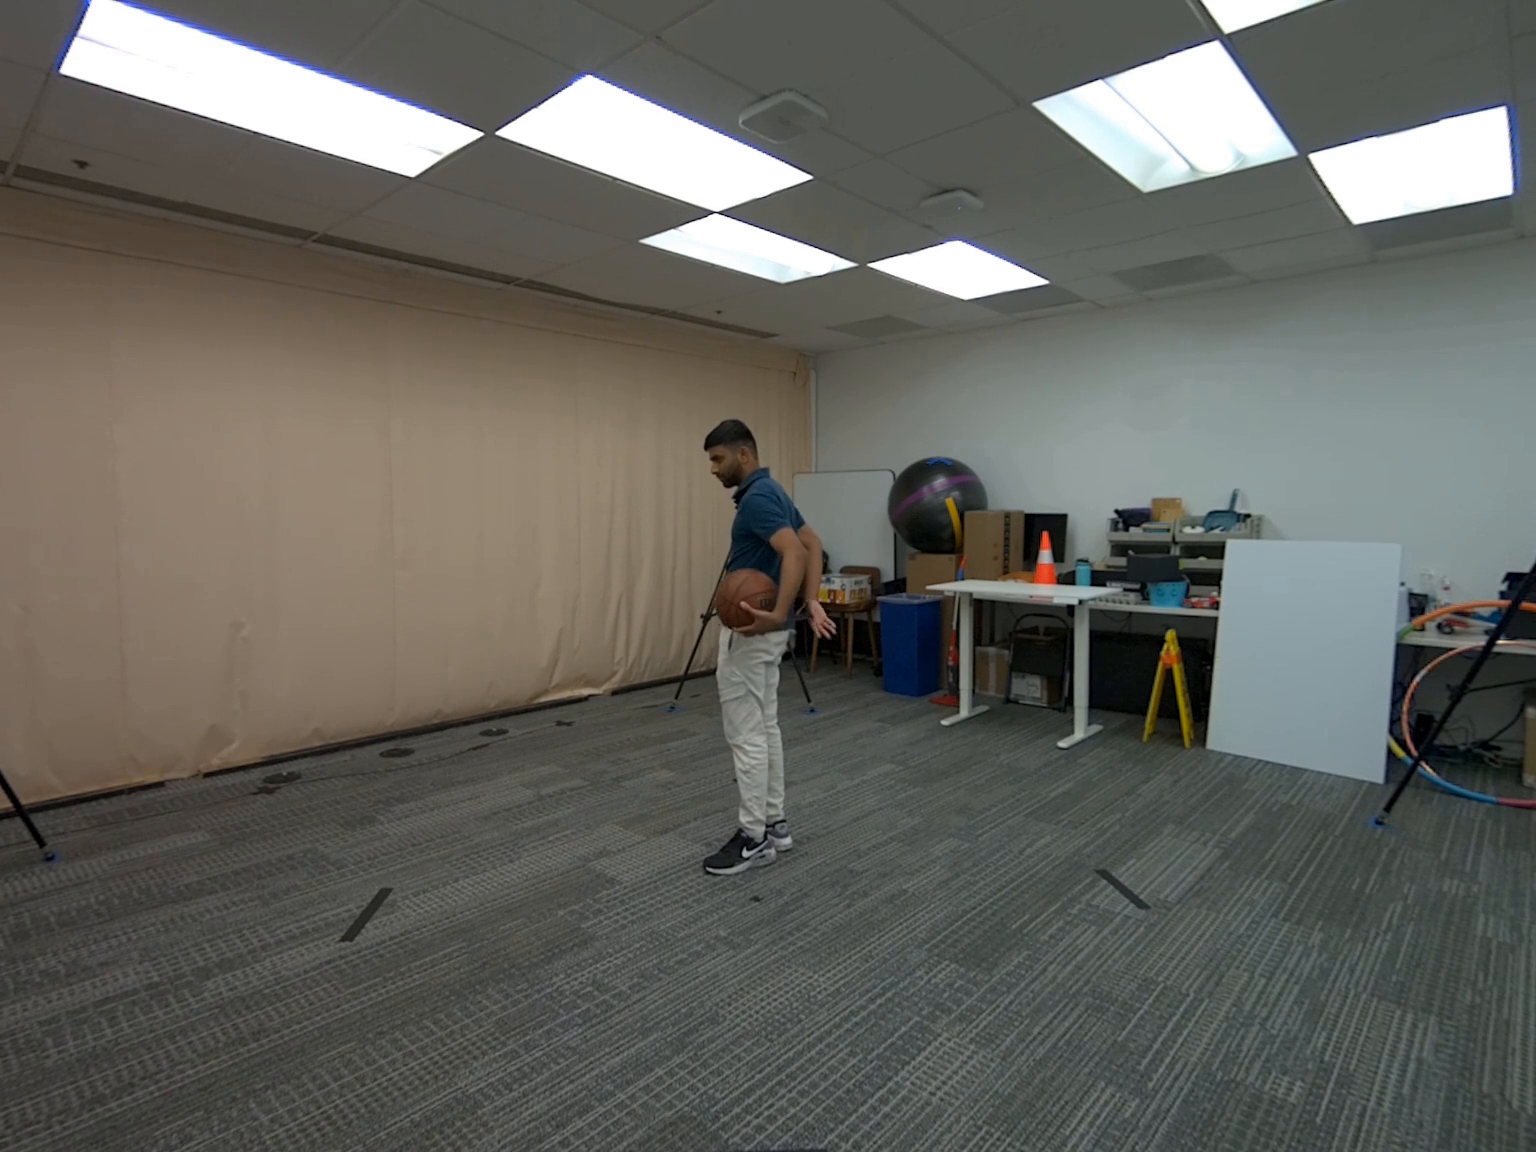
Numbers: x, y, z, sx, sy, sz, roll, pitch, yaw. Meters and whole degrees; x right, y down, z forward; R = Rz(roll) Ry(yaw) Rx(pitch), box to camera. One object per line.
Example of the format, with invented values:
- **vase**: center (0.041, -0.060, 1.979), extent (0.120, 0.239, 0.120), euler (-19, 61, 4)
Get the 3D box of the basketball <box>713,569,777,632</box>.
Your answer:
- **basketball**: center (-0.083, 0.086, 3.093), extent (0.236, 0.235, 0.237), euler (0, 4, -2)
